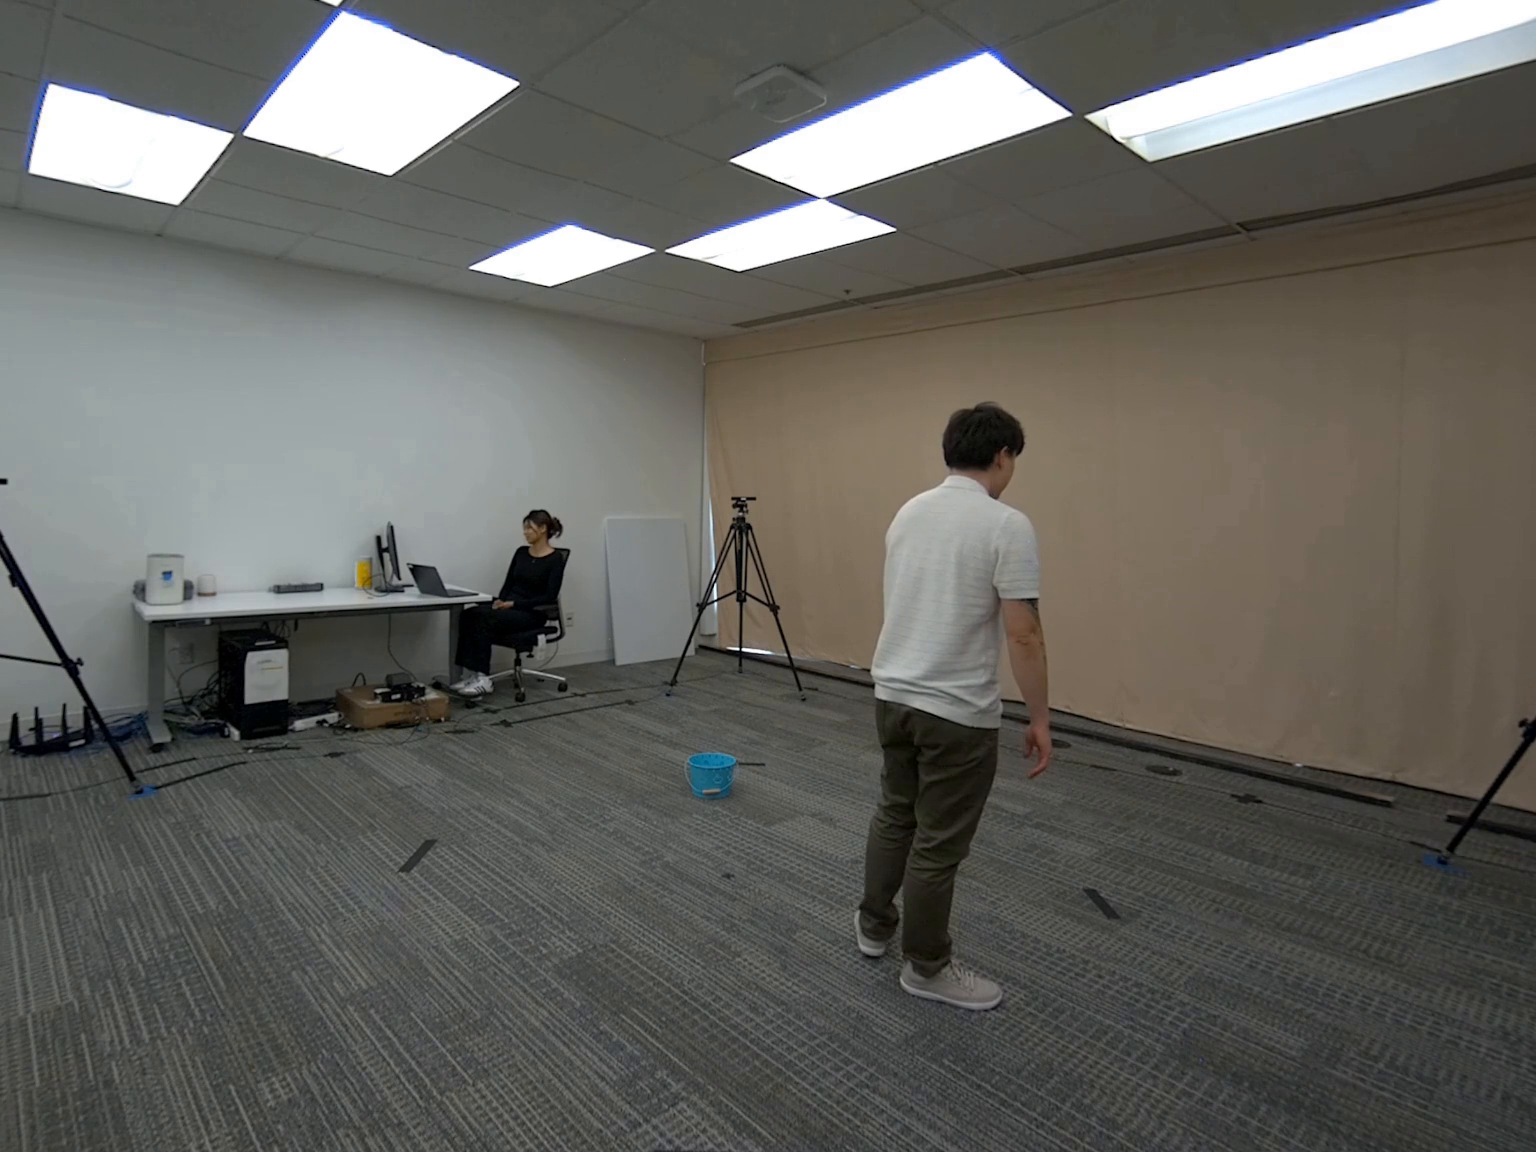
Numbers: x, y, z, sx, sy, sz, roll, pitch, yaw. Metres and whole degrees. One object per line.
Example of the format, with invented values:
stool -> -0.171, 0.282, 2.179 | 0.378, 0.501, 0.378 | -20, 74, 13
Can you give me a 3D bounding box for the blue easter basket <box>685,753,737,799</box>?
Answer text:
blue easter basket -> -0.285, 0.951, 4.001 | 0.243, 0.155, 0.244 | 2, 4, -1
